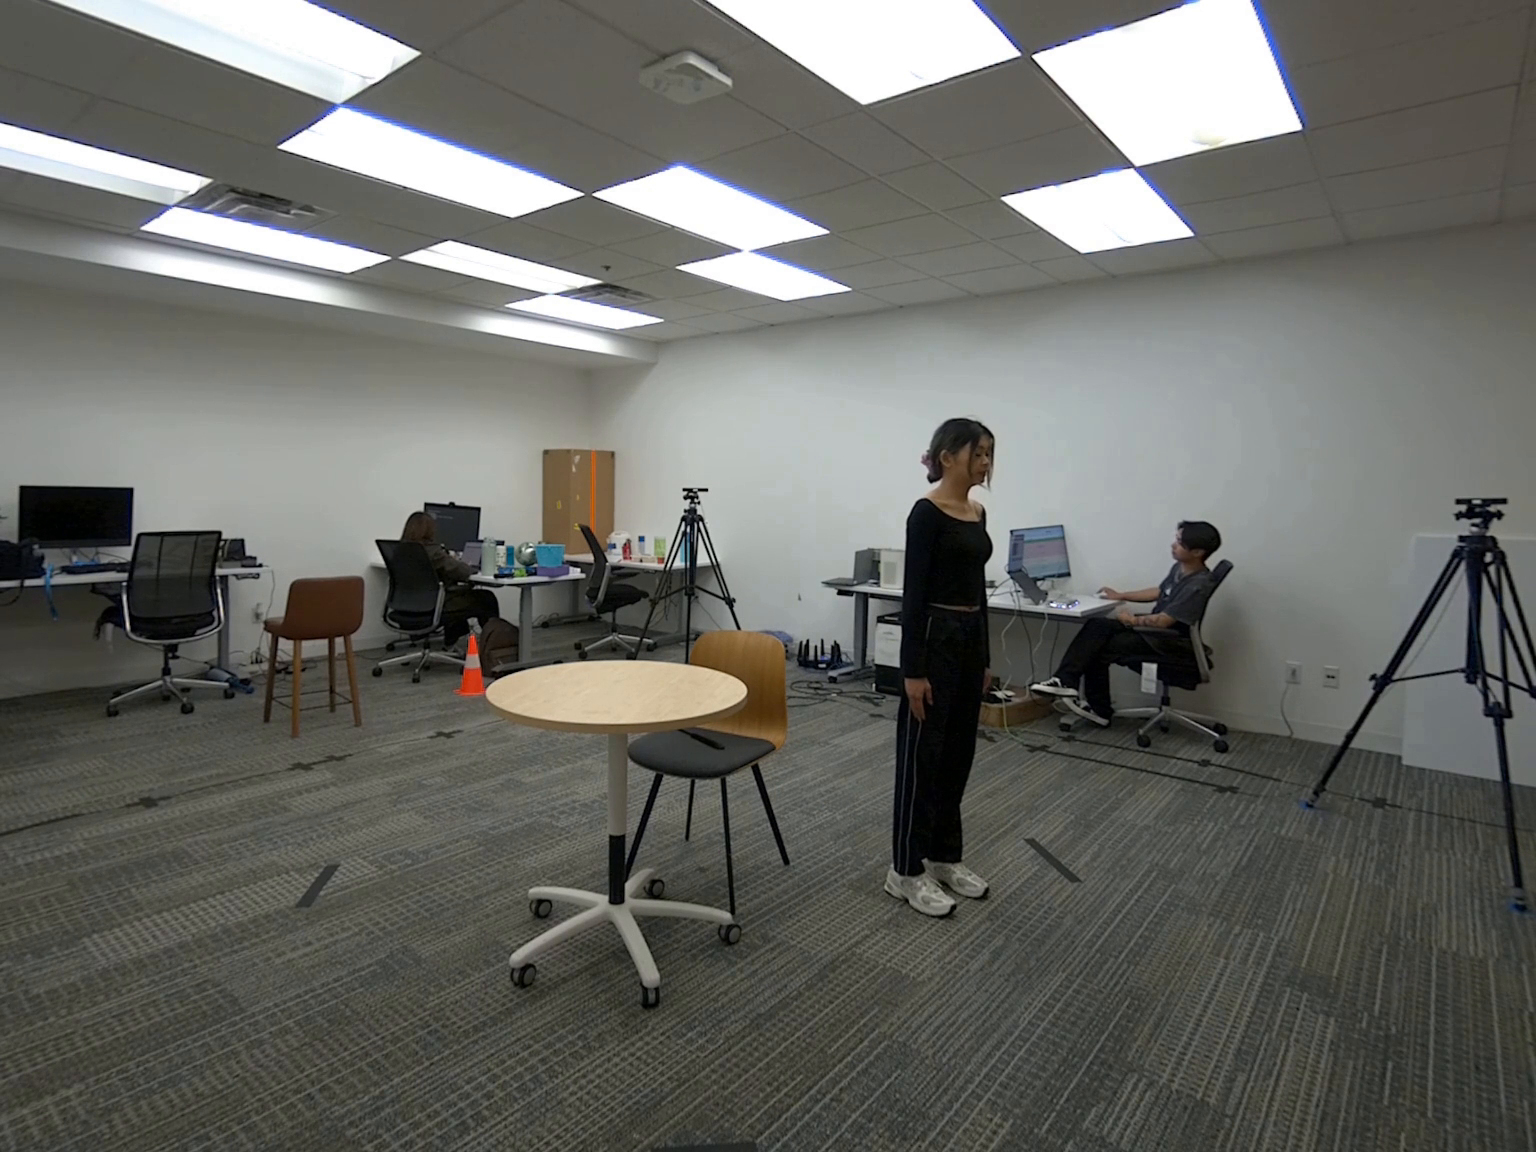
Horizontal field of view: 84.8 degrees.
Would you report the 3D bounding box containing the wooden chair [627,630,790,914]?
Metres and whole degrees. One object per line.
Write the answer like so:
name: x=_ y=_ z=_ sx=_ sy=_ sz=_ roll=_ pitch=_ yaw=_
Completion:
wooden chair: x=-0.220 y=0.648 z=3.044 sx=0.492 sy=0.878 sz=0.508 roll=3 pitch=-1 yaw=28
